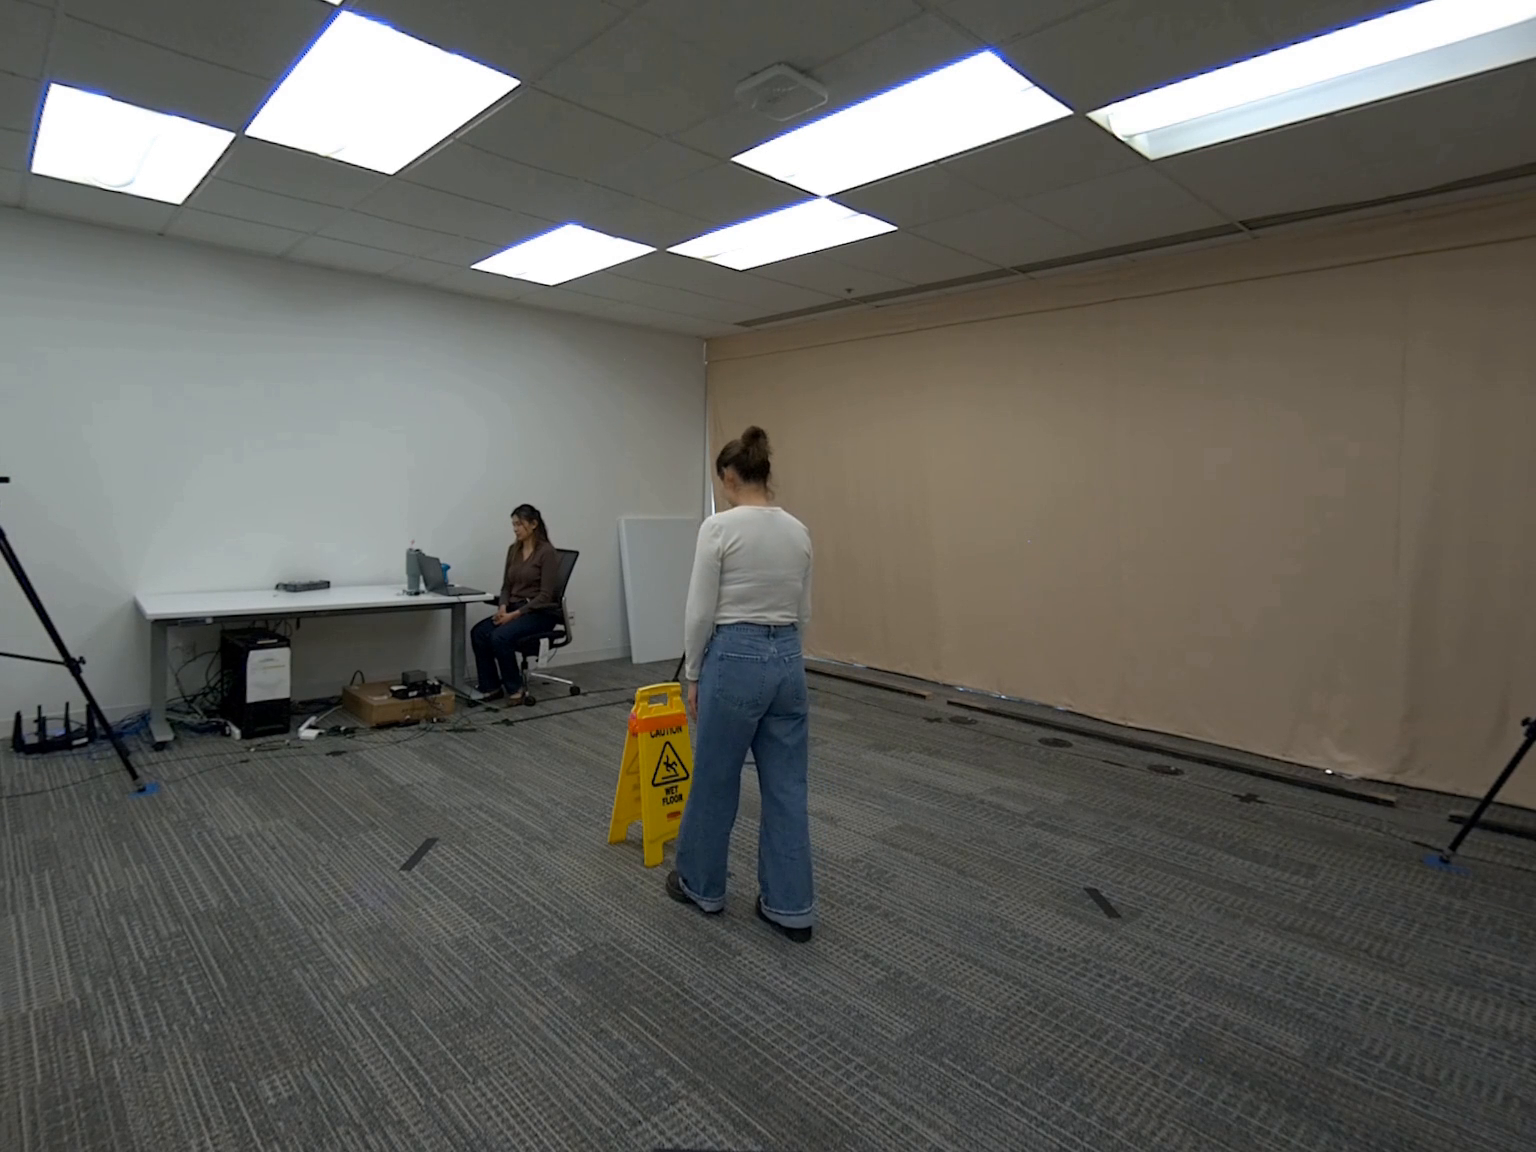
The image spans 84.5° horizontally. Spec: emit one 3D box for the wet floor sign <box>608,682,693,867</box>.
[{"bbox_3d":[-0.440,0.750,3.319,0.276,0.644,0.297,-2,5,-41],"label":"wet floor sign"}]
